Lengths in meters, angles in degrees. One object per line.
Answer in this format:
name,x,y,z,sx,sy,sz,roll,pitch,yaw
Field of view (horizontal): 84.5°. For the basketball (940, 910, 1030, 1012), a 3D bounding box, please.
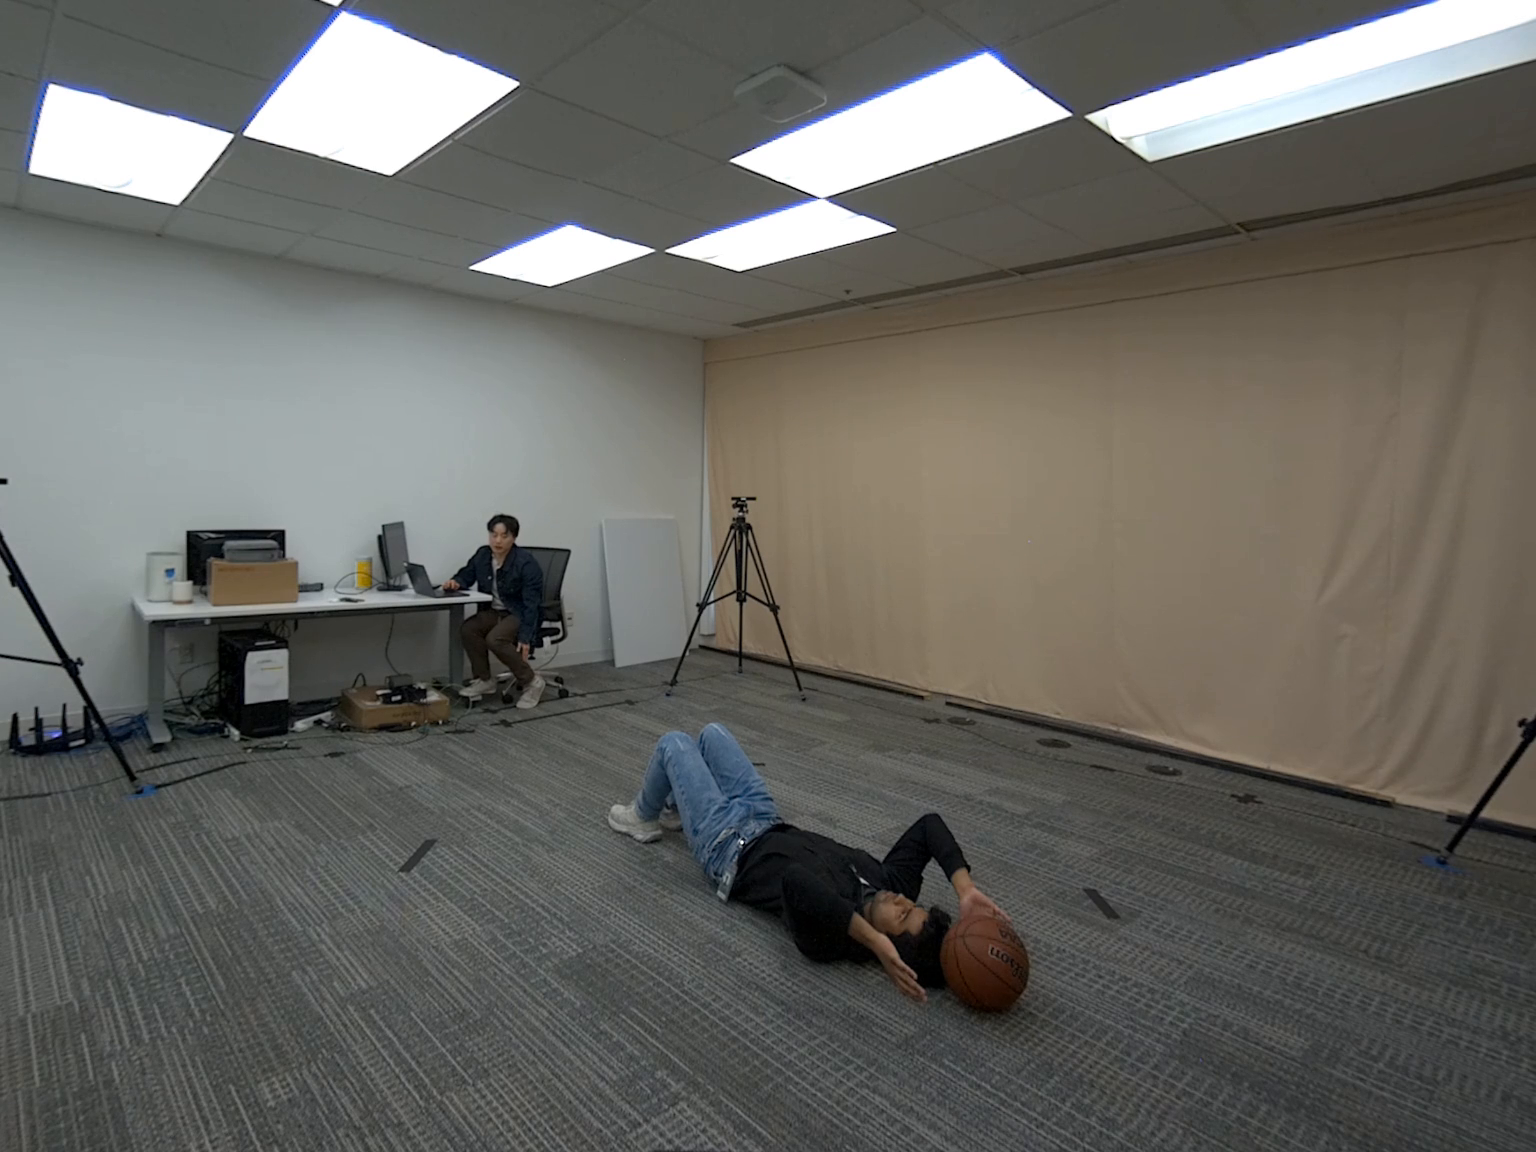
basketball,0.603,1.077,2.345,0.236,0.235,0.237,1,4,-1
